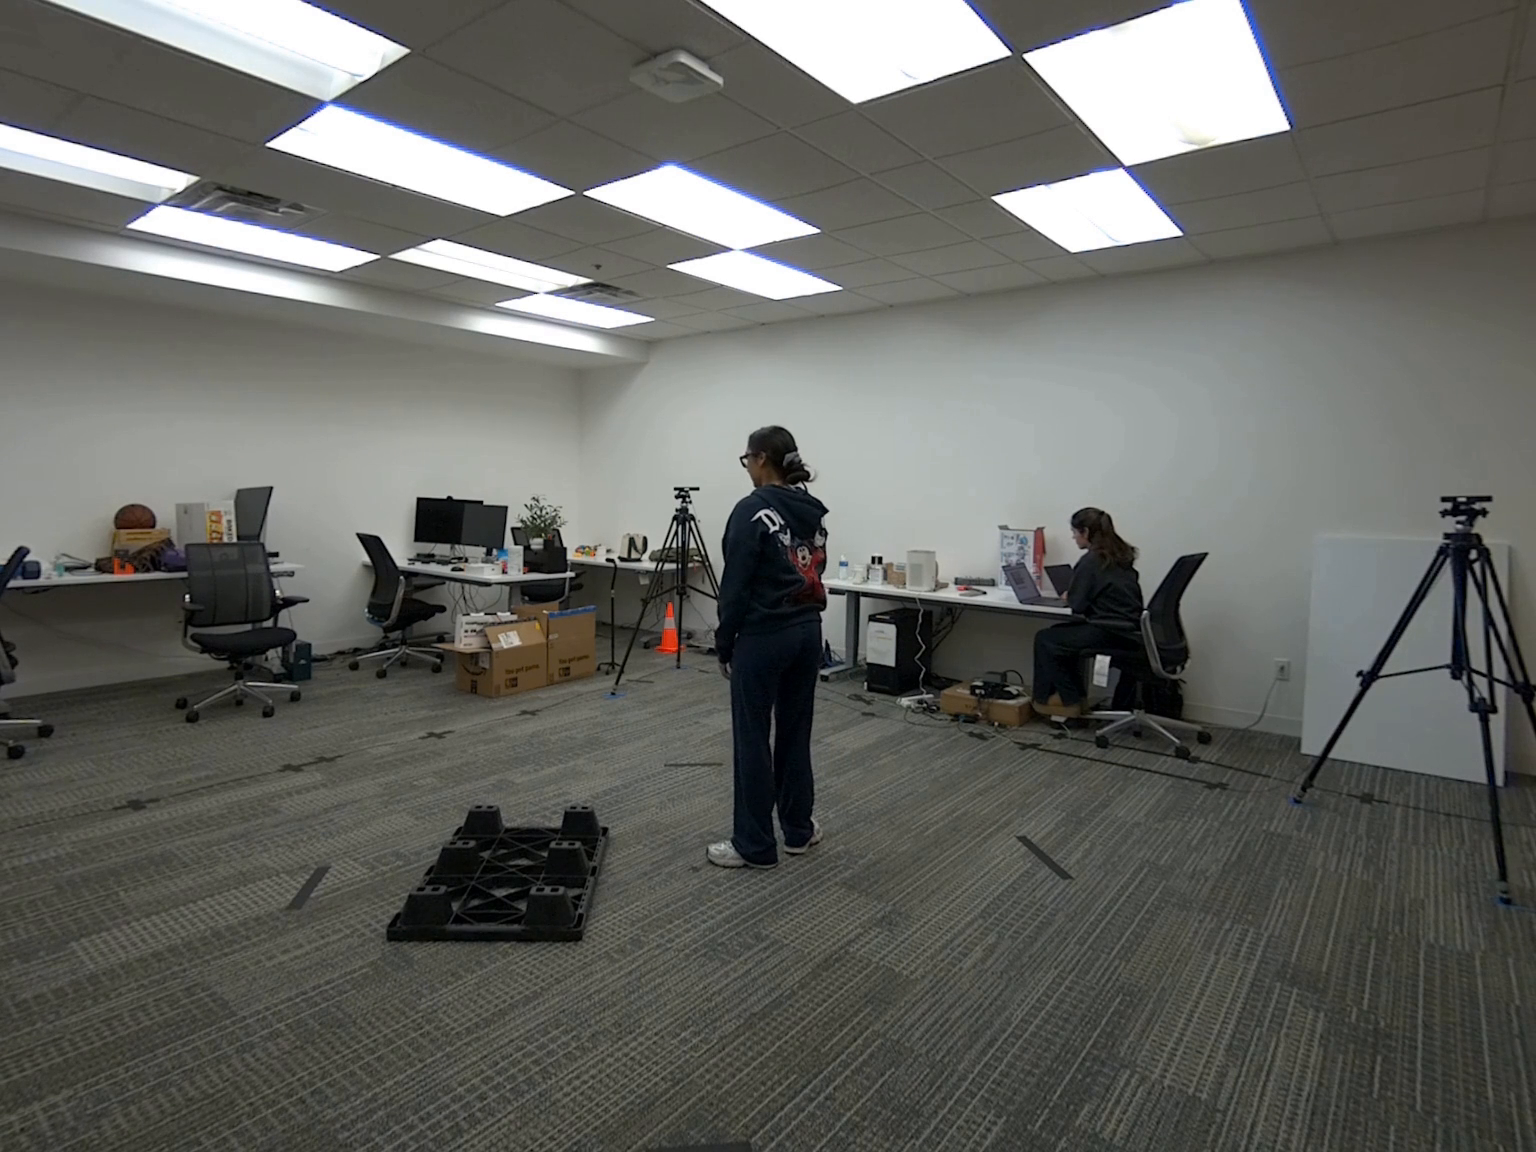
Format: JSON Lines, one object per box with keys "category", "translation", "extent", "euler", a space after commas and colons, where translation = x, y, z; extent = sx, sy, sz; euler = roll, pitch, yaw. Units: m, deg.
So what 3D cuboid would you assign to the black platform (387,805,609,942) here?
{"category": "black platform", "translation": [-0.915, 1.006, 2.980], "extent": [0.603, 0.143, 0.811], "euler": [1, 5, -4]}
